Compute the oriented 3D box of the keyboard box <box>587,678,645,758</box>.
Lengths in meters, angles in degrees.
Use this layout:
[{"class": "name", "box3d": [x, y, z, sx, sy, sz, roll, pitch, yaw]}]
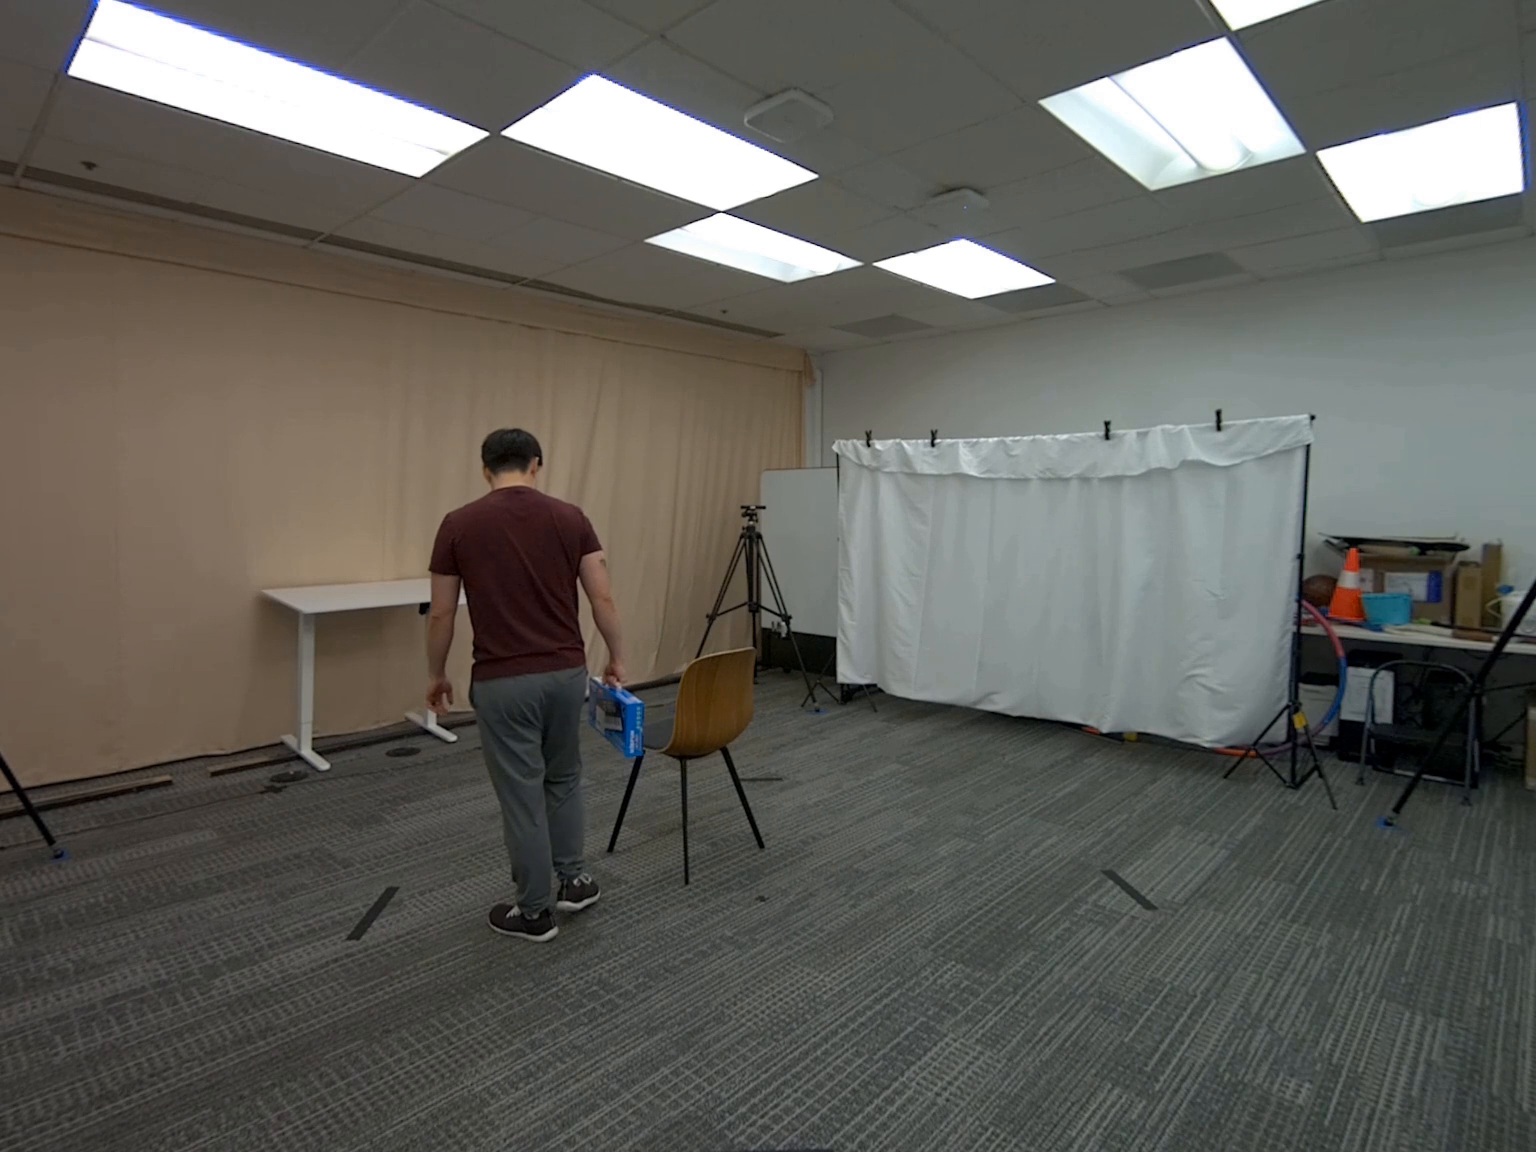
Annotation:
[{"class": "keyboard box", "box3d": [-0.519, 0.472, 2.856, 0.057, 0.176, 0.449, 2, 4, -28]}]
